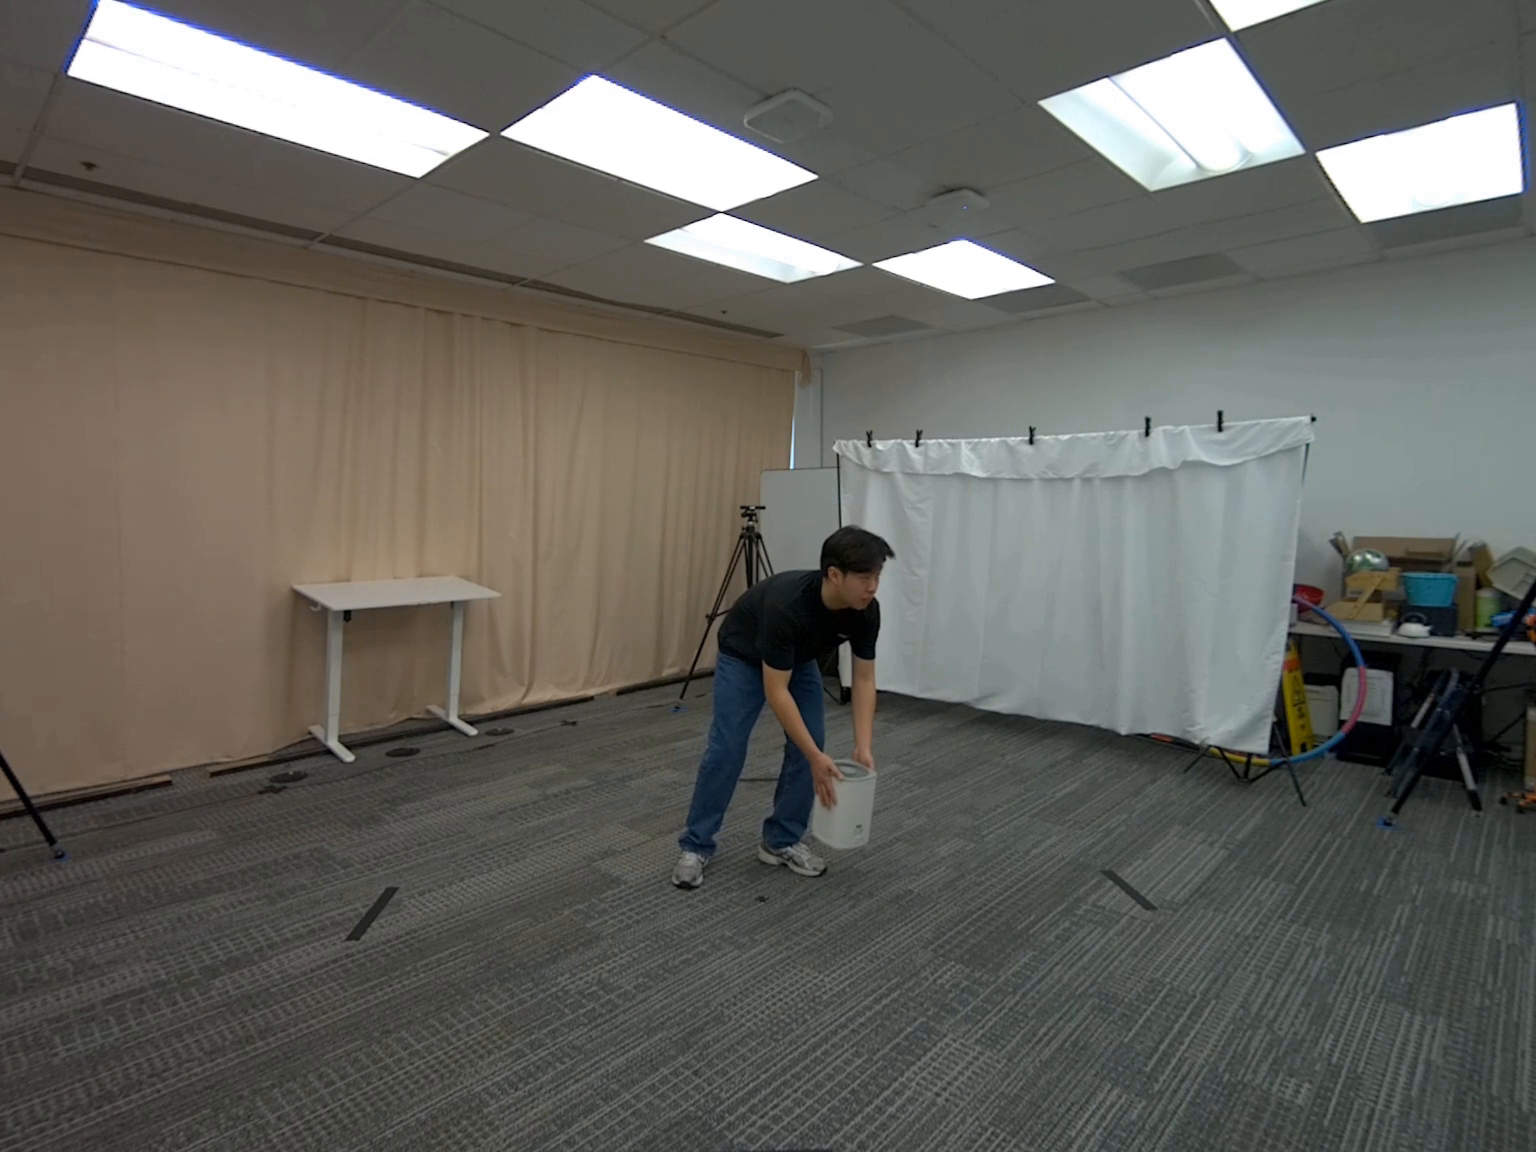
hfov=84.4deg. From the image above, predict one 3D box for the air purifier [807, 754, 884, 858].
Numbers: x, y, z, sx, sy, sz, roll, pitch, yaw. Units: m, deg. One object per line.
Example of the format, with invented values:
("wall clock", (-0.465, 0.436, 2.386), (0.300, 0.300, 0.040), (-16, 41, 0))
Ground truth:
("air purifier", (0.264, 0.784, 2.920), (0.166, 0.264, 0.177), (-4, 10, -38))
